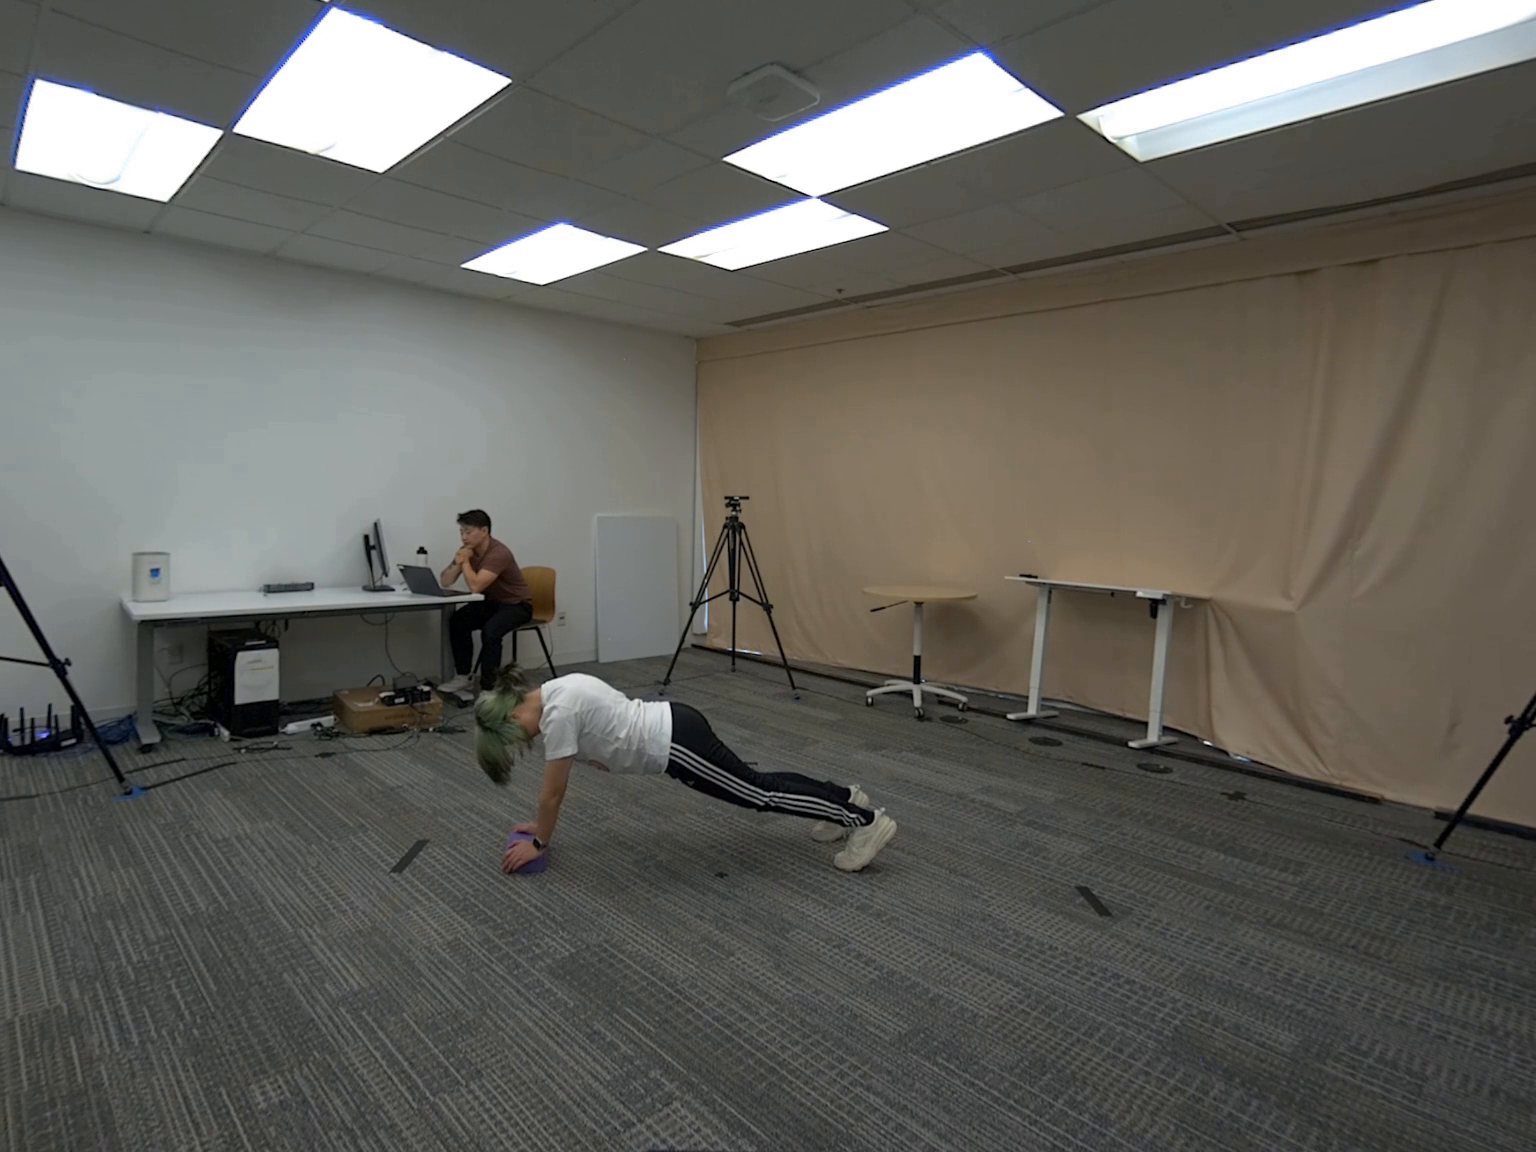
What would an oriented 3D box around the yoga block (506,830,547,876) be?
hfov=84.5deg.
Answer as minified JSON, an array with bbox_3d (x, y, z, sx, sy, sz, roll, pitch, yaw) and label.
[{"bbox_3d":[-0.912,1.040,3.197,0.148,0.076,0.232,1,7,-8],"label":"yoga block"}]
